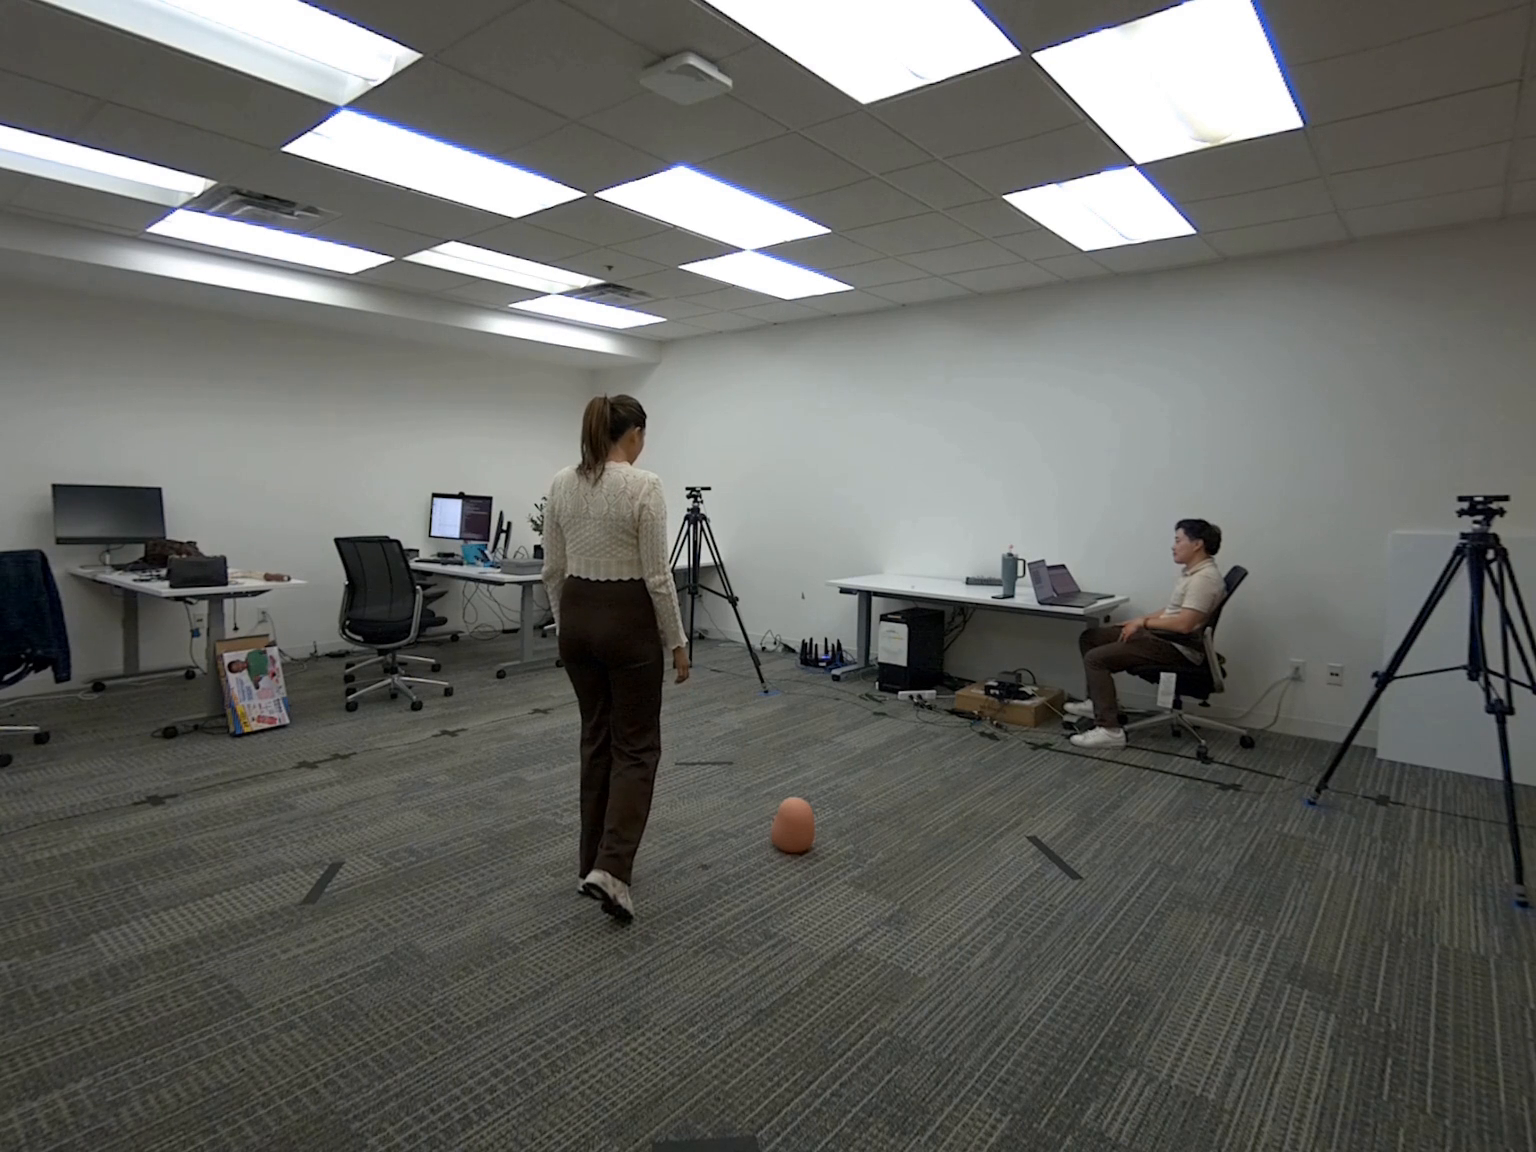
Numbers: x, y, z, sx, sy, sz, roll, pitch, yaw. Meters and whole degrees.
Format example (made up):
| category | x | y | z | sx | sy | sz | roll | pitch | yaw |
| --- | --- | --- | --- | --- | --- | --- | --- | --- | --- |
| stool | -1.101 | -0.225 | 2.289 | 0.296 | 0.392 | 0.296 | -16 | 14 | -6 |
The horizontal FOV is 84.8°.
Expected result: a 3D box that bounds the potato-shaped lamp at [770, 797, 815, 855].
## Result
| category | x | y | z | sx | sy | sz | roll | pitch | yaw |
| --- | --- | --- | --- | --- | --- | --- | --- | --- | --- |
| potato-shaped lamp | 0.088 | 0.948 | 3.293 | 0.161 | 0.197 | 0.176 | 0 | 8 | -25 |
